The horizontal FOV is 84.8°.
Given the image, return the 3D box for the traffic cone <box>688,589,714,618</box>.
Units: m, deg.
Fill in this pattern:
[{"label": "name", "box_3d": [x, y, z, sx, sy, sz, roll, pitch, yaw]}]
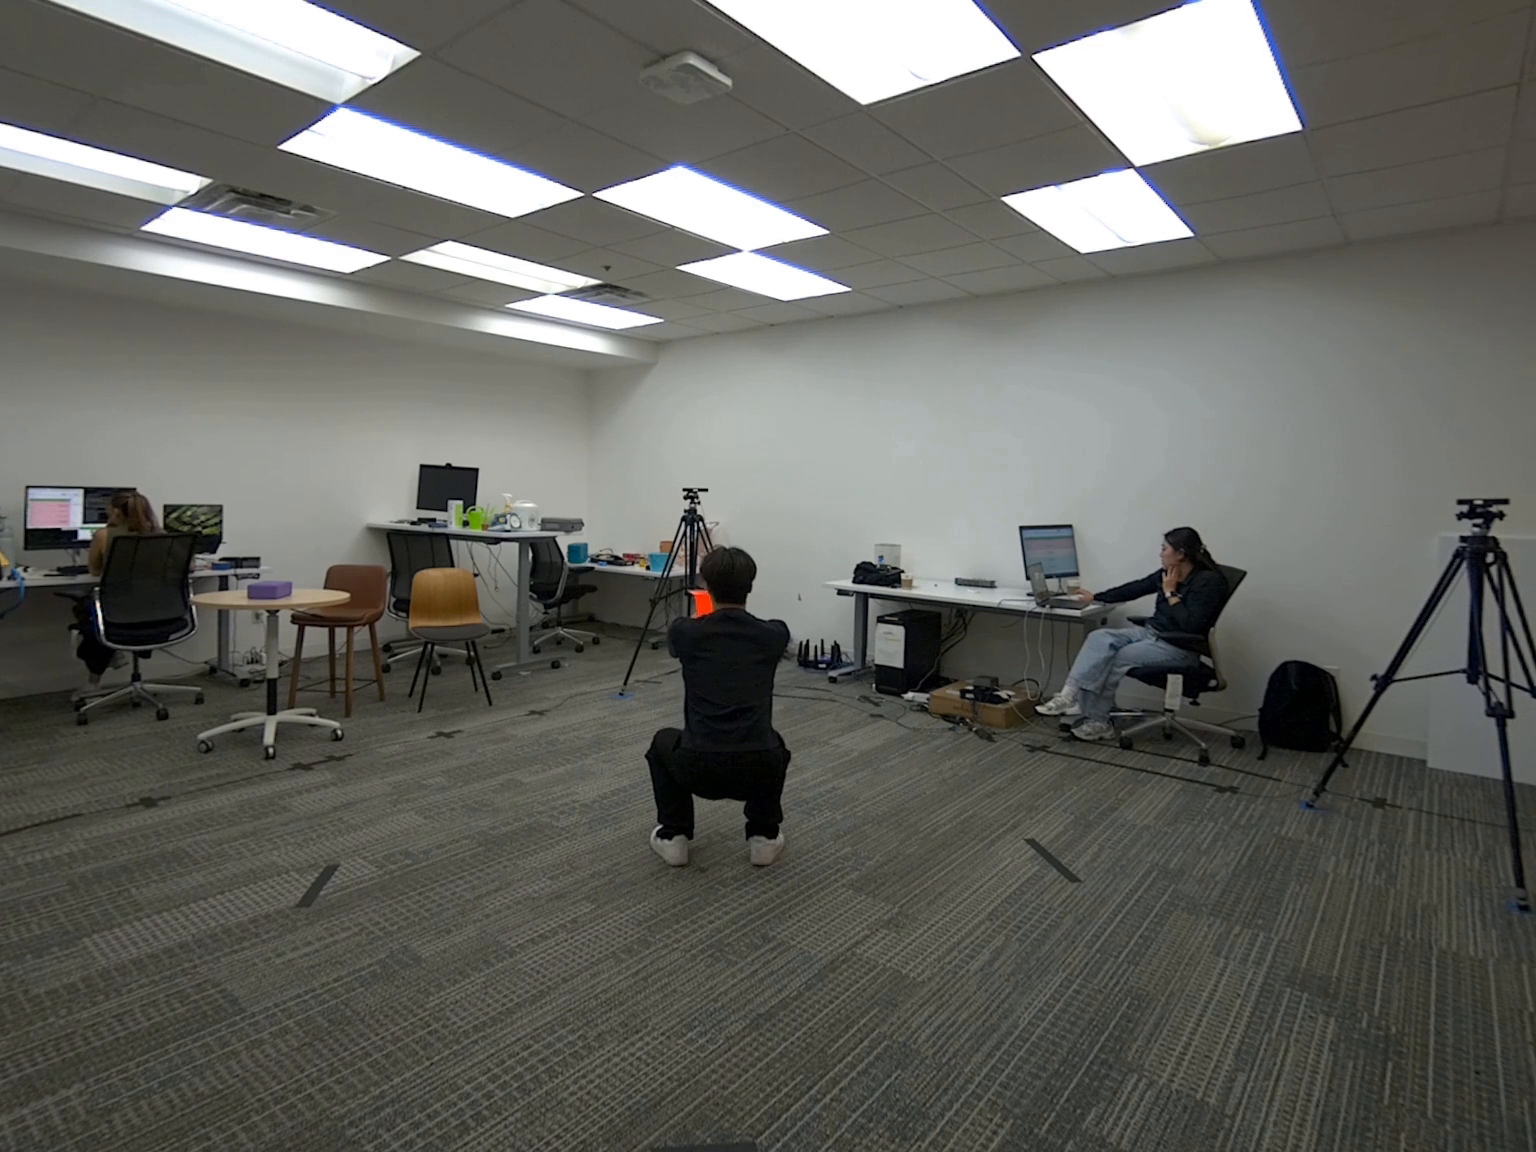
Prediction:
[{"label": "traffic cone", "box_3d": [-0.264, 0.256, 3.804, 0.202, 0.384, 0.206, 0, 0, -12]}]
